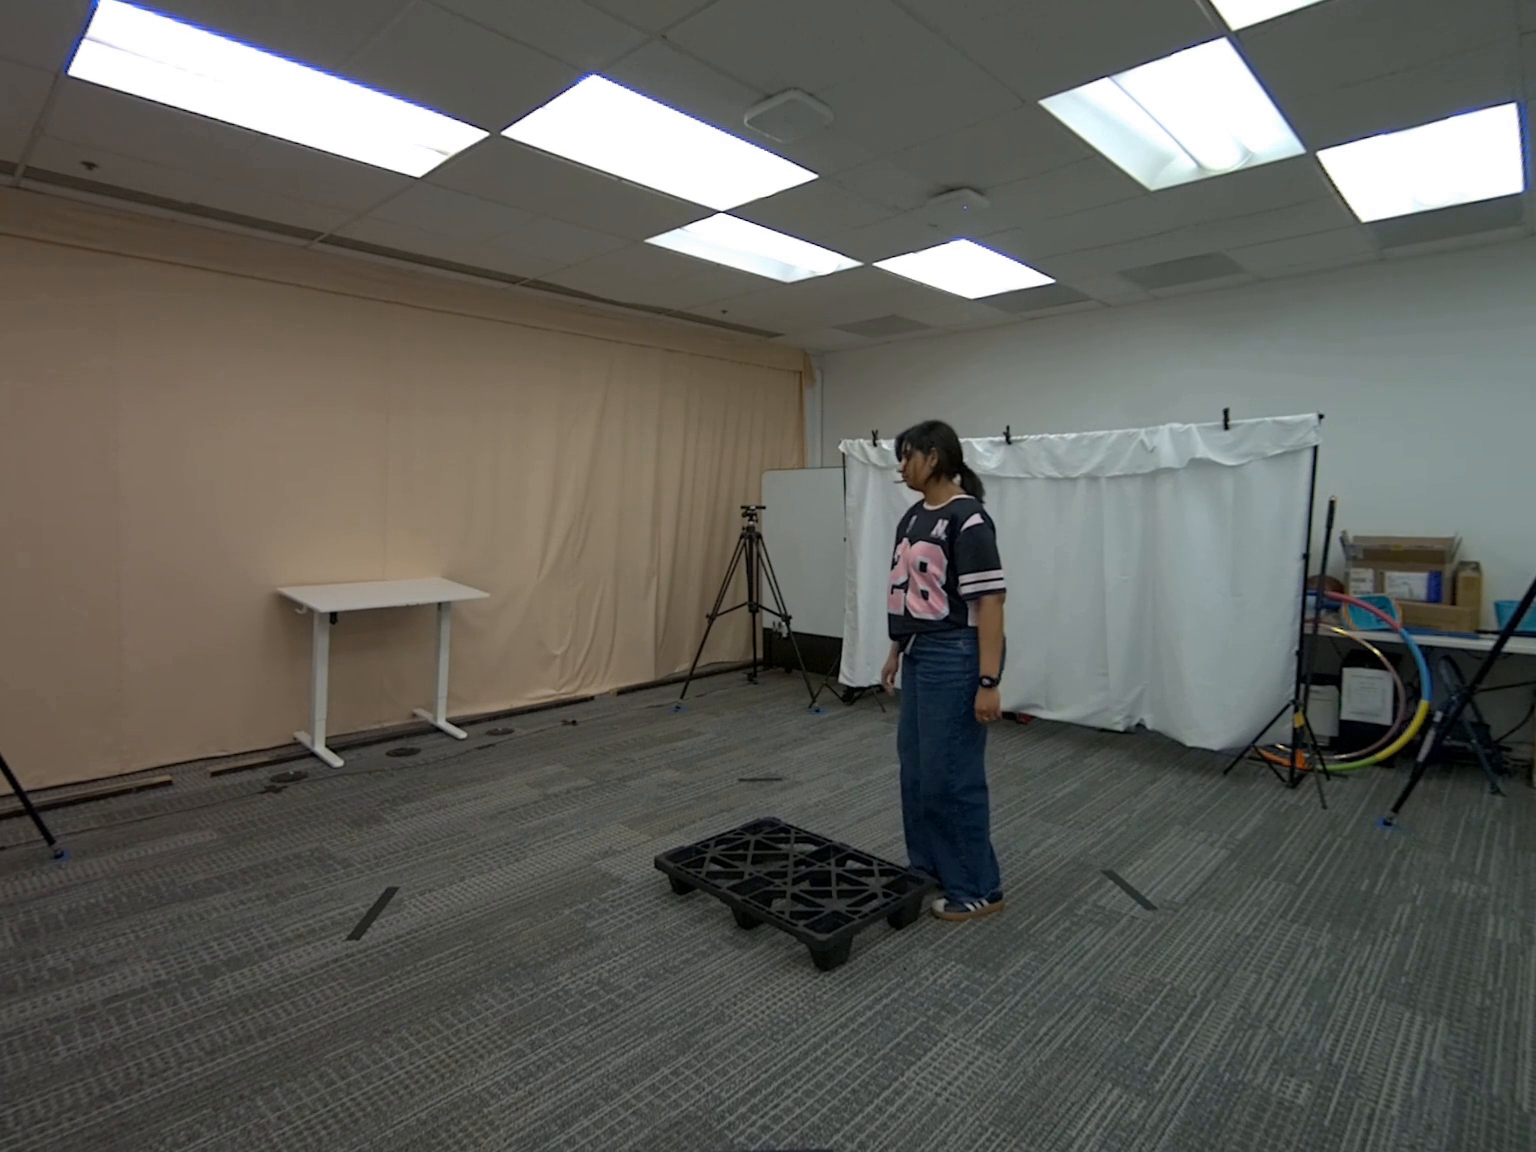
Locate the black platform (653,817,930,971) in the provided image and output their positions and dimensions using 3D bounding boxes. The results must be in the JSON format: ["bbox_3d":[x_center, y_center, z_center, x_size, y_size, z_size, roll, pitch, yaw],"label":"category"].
[{"bbox_3d":[0.080,1.084,2.923,0.587,0.143,0.832,-5,7,-43],"label":"black platform"}]
